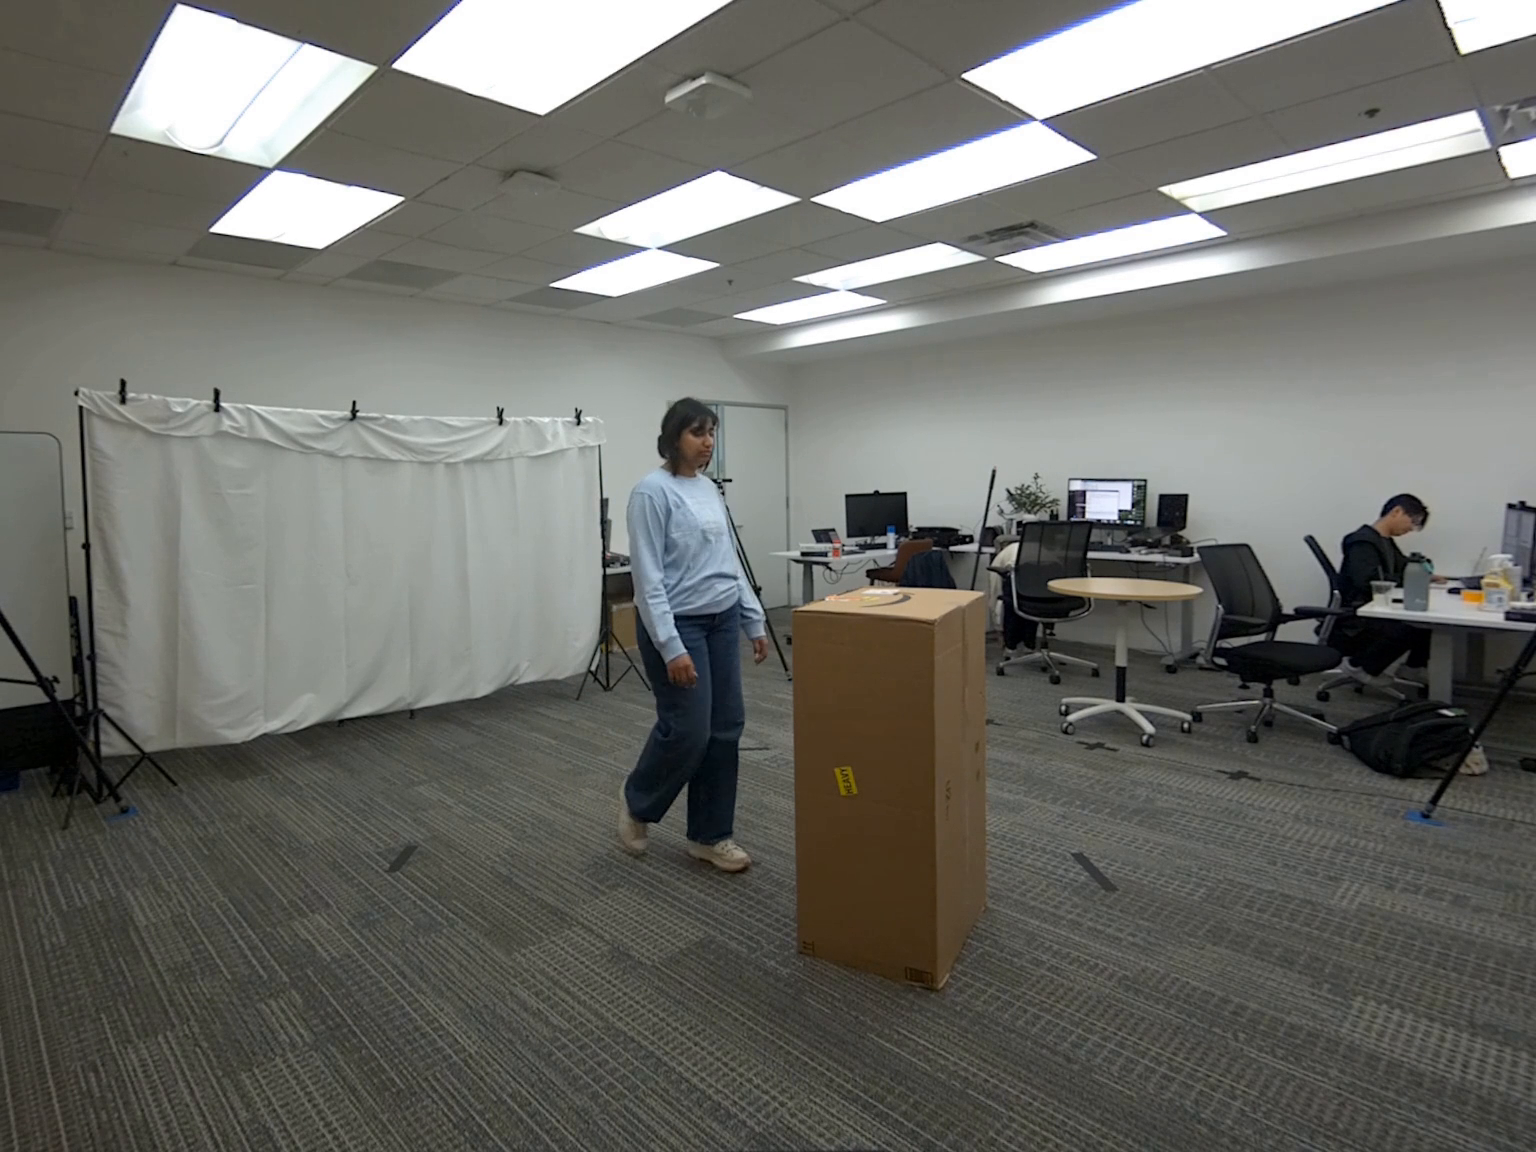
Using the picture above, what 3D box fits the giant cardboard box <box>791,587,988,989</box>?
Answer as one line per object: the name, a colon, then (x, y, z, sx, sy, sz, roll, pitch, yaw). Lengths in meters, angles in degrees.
giant cardboard box: (0.396, 0.582, 2.624, 0.458, 1.023, 0.571, 1, 5, 30)
